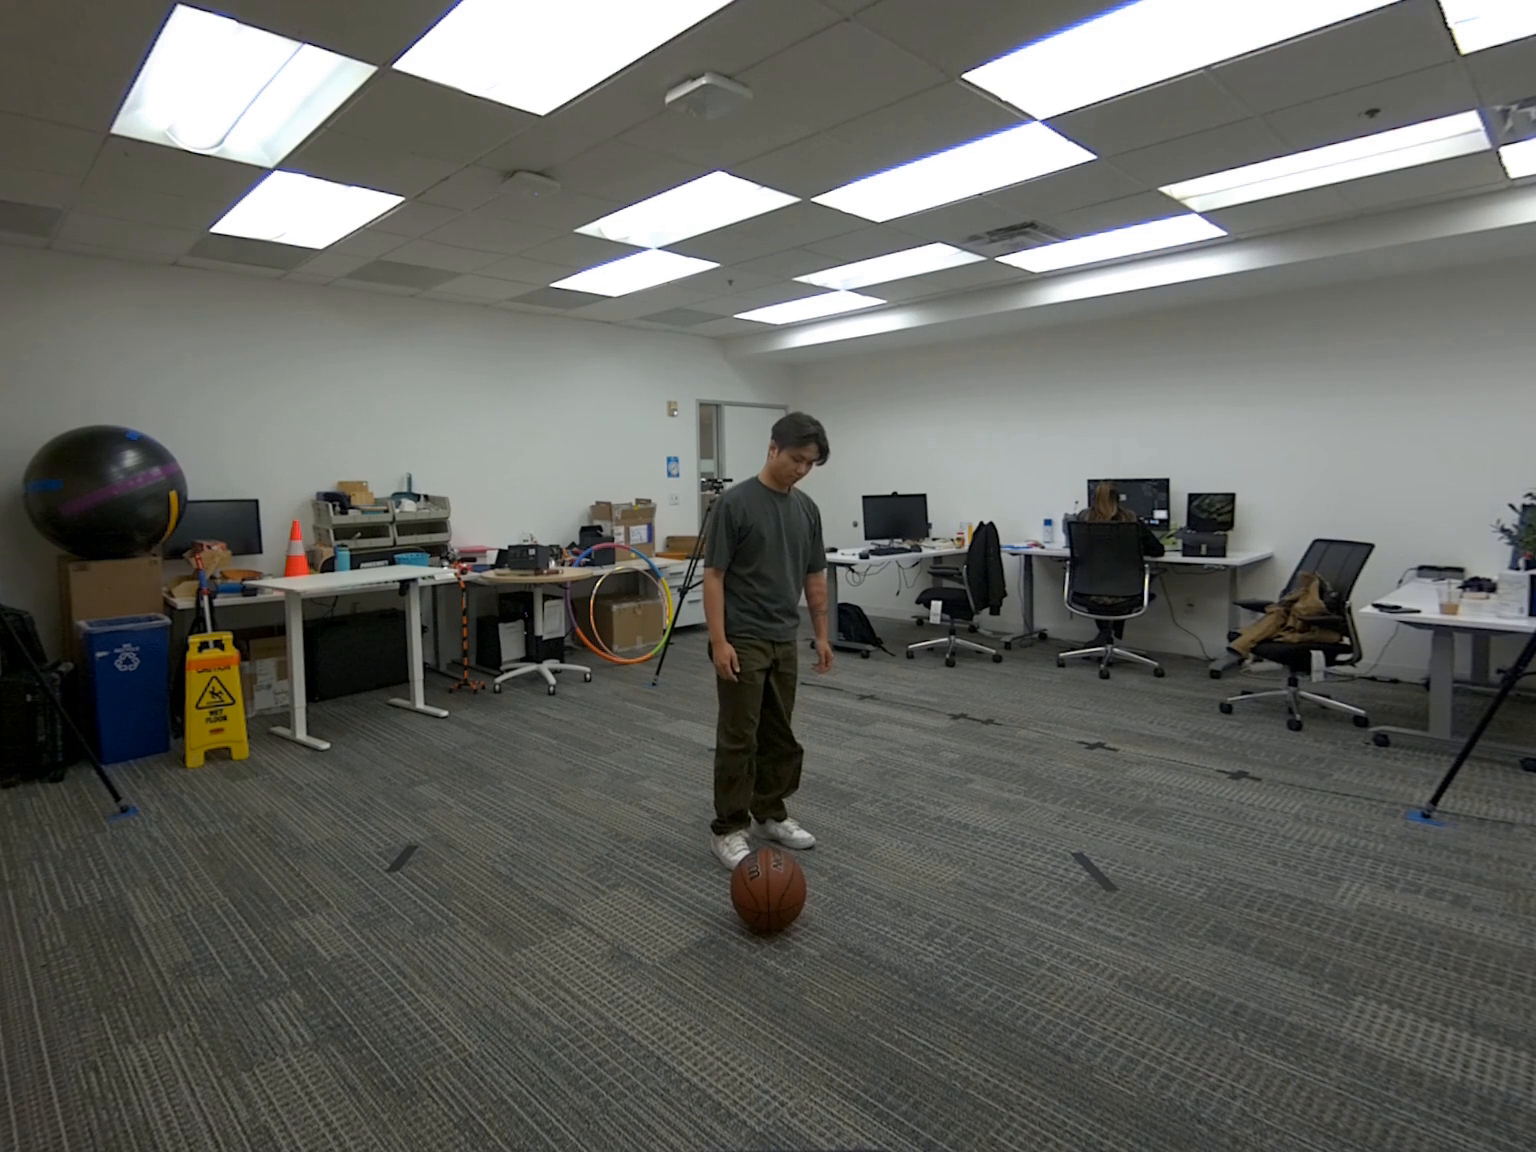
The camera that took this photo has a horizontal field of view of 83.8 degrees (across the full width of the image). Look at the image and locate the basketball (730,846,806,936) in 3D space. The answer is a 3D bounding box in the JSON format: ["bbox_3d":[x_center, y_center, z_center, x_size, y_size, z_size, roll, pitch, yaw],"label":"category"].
[{"bbox_3d":[0.007,0.979,2.667,0.236,0.235,0.237,-1,5,-2],"label":"basketball"}]
